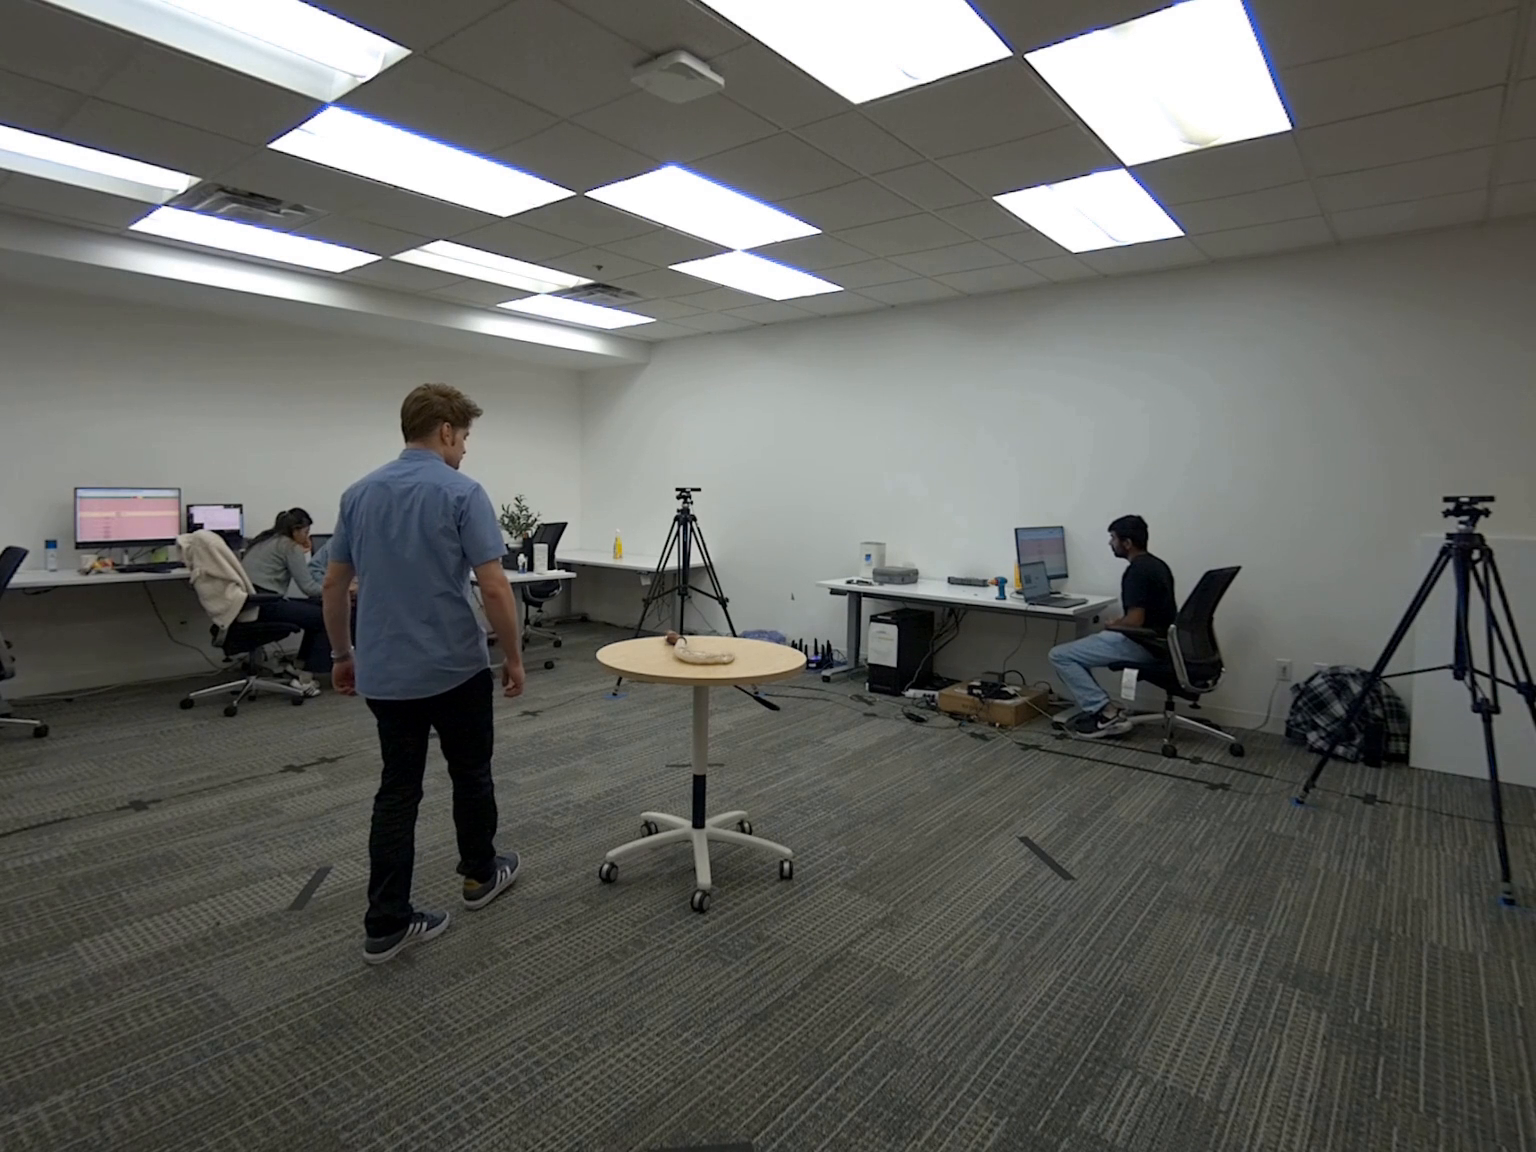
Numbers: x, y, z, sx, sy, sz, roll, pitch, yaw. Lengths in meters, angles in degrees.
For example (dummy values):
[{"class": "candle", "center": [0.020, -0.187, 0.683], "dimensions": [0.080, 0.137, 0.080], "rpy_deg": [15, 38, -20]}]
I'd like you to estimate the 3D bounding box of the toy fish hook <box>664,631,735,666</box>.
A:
[{"class": "toy fish hook", "center": [-0.276, 0.267, 3.161], "dimensions": [0.220, 0.048, 0.518], "rpy_deg": [6, 5, -18]}]
